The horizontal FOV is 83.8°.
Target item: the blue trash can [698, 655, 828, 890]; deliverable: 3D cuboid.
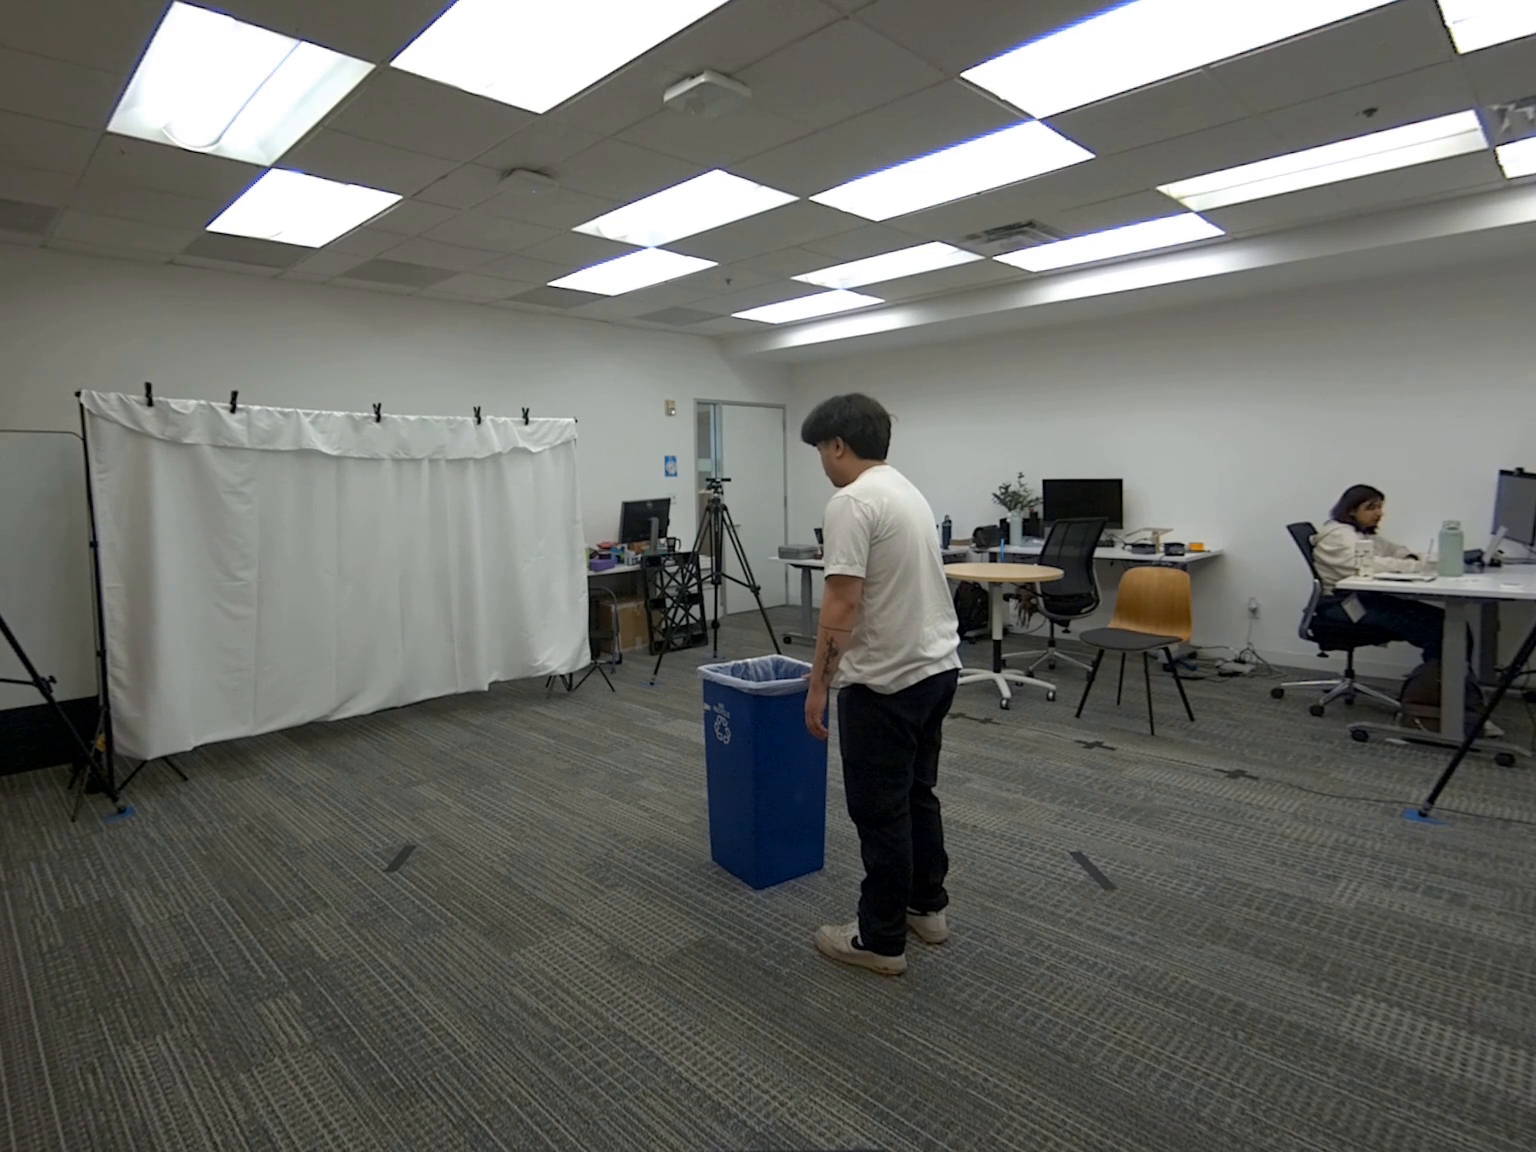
[{"bbox_3d":[0.000,0.687,3.070,0.368,0.711,0.385,-4,5,-35],"label":"blue trash can"}]
